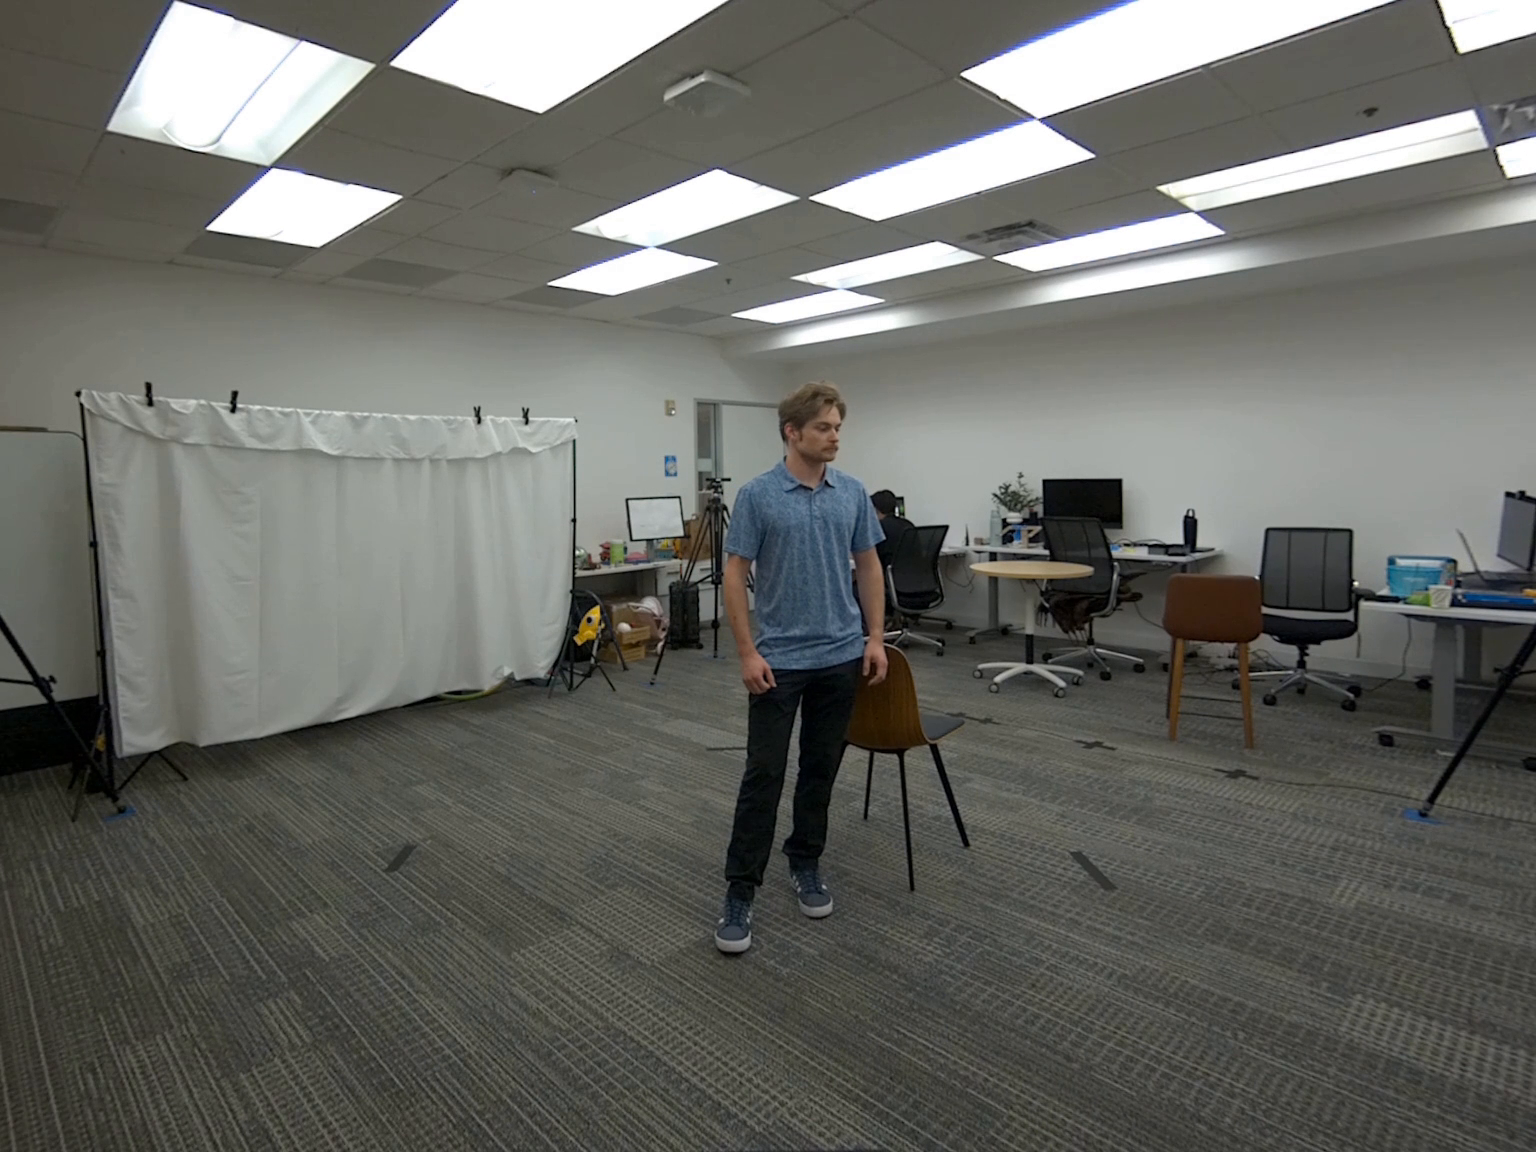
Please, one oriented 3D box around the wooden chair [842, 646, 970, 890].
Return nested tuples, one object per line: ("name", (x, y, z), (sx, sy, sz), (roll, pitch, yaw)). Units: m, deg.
("wooden chair", (0.442, 0.600, 3.163), (0.492, 0.871, 0.512), (2, 9, 38))
